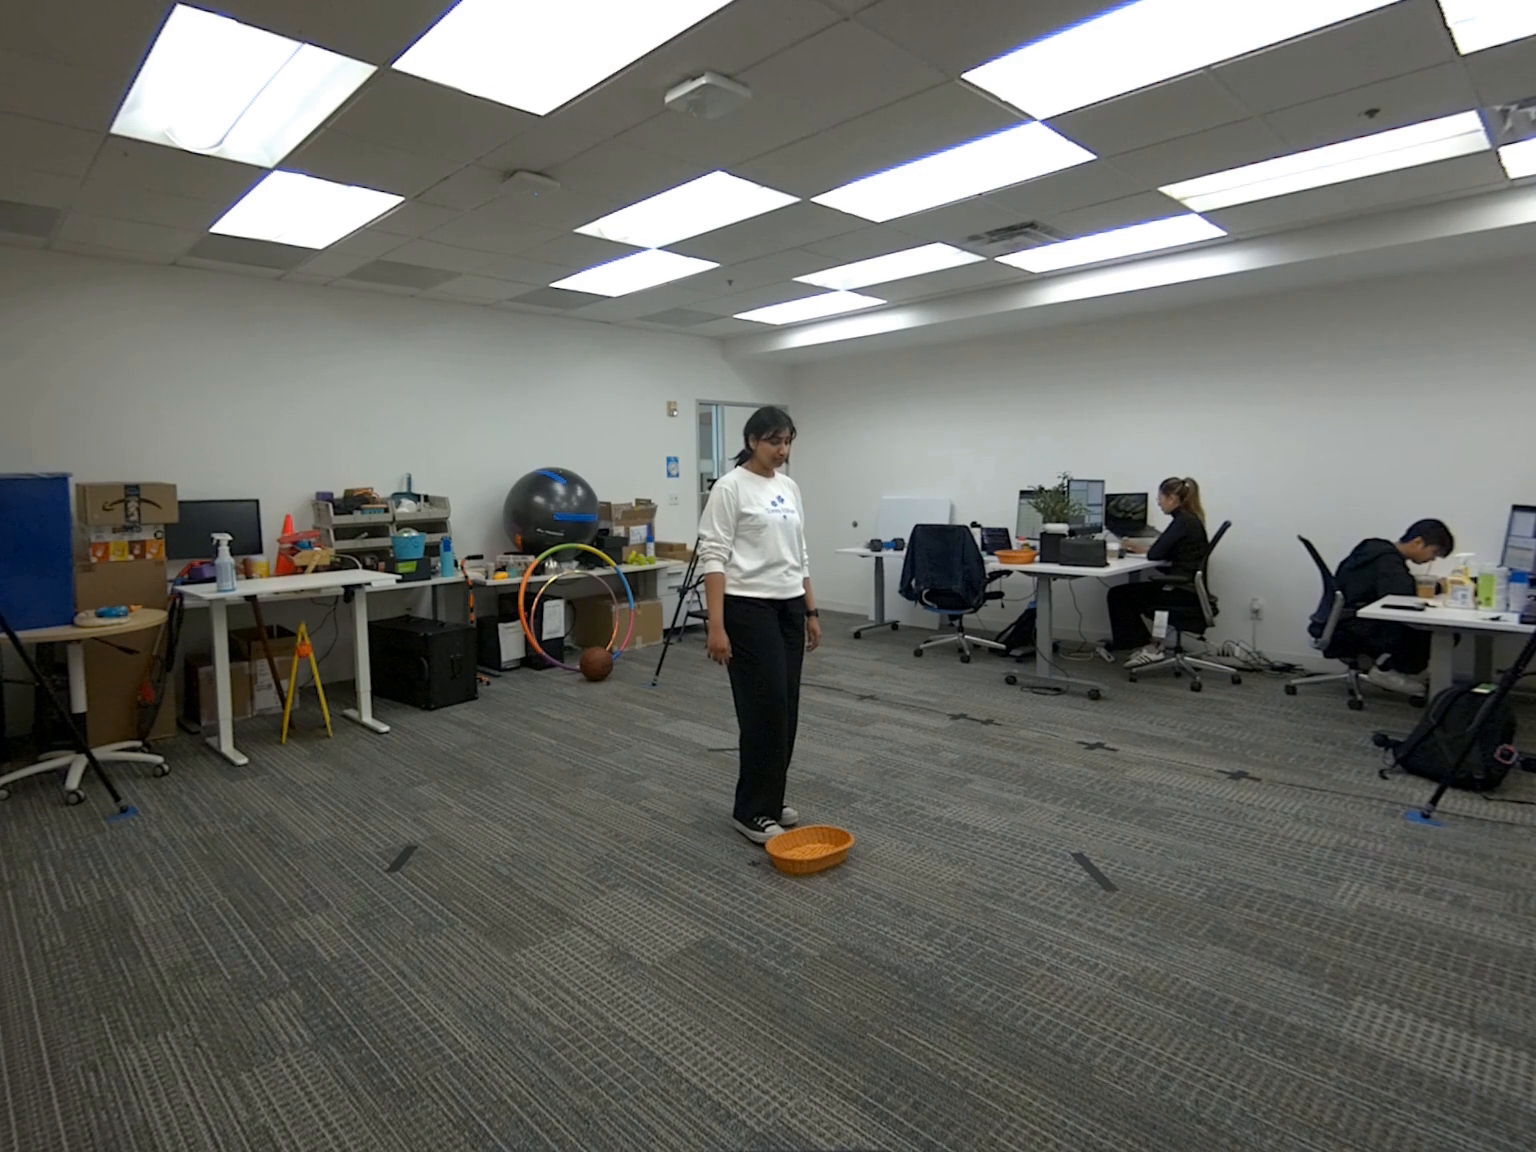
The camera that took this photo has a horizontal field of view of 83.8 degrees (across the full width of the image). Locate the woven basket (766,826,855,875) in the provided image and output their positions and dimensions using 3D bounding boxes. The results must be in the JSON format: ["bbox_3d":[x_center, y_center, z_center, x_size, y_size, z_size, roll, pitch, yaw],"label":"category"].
[{"bbox_3d":[0.150,0.996,3.132,0.342,0.073,0.259,-4,5,-31],"label":"woven basket"}]
